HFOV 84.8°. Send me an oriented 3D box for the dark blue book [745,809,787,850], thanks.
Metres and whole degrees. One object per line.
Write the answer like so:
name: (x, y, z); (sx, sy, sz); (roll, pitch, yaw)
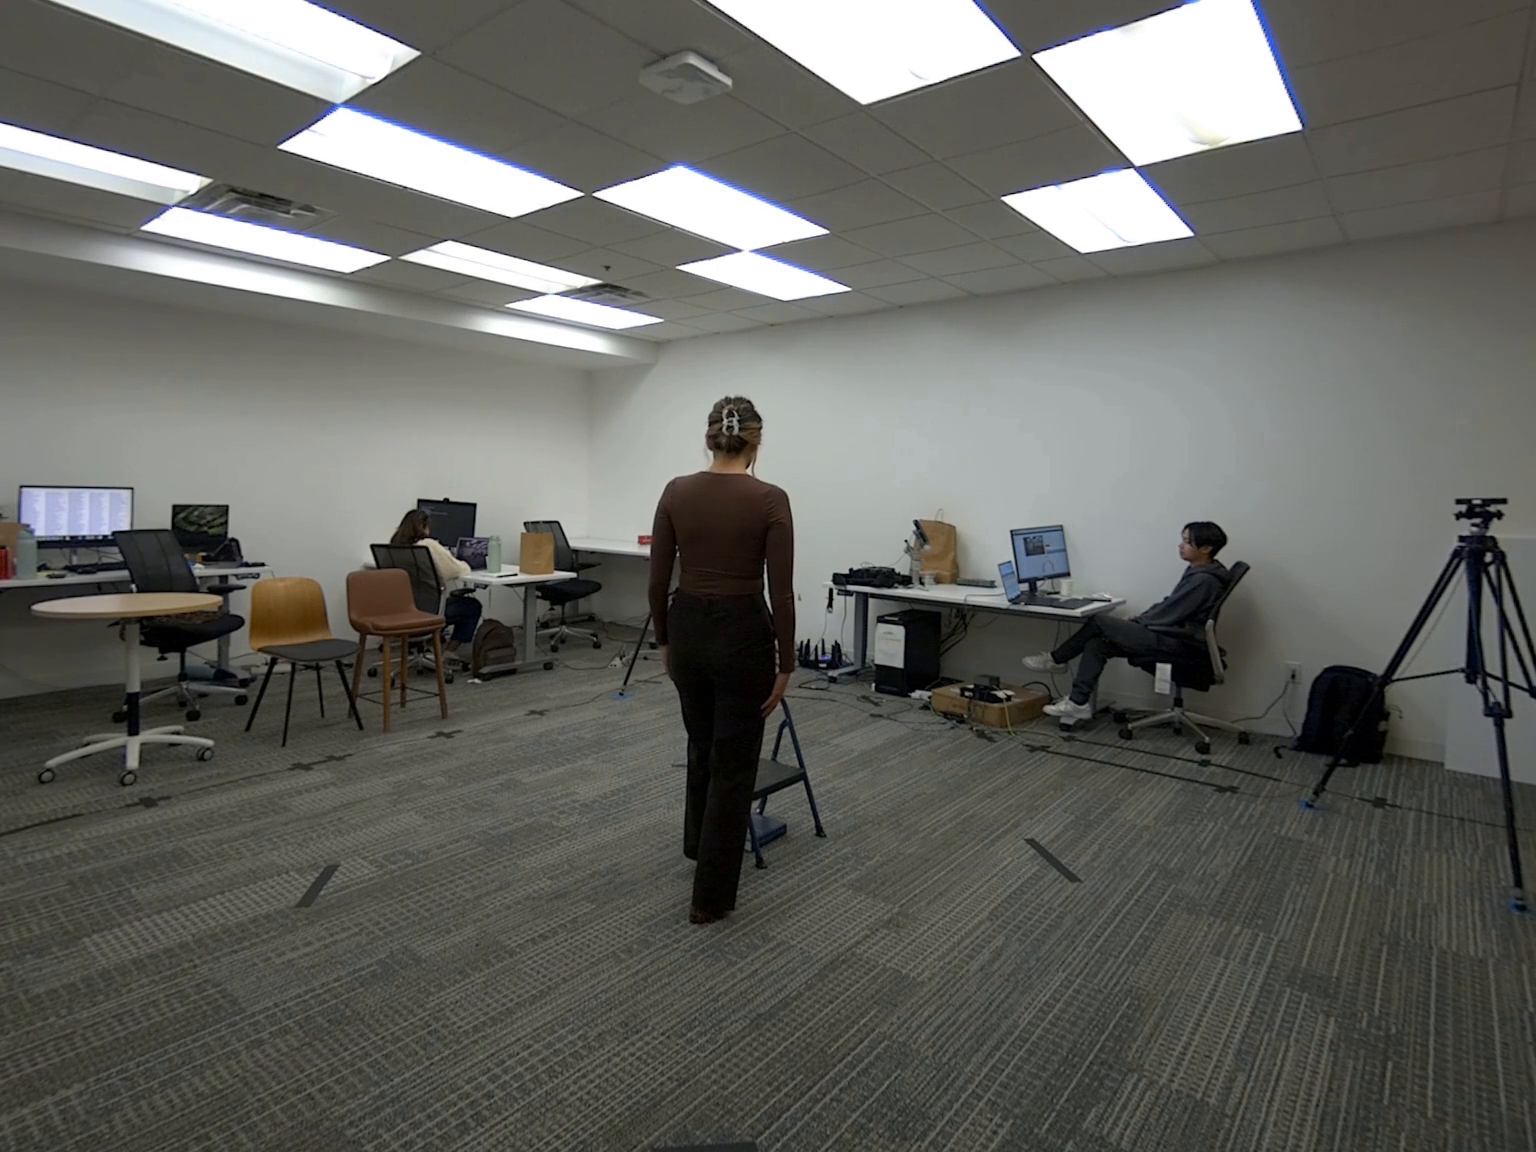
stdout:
dark blue book: (-0.065, 1.019, 3.395); (0.169, 0.045, 0.238); (5, 7, 36)
